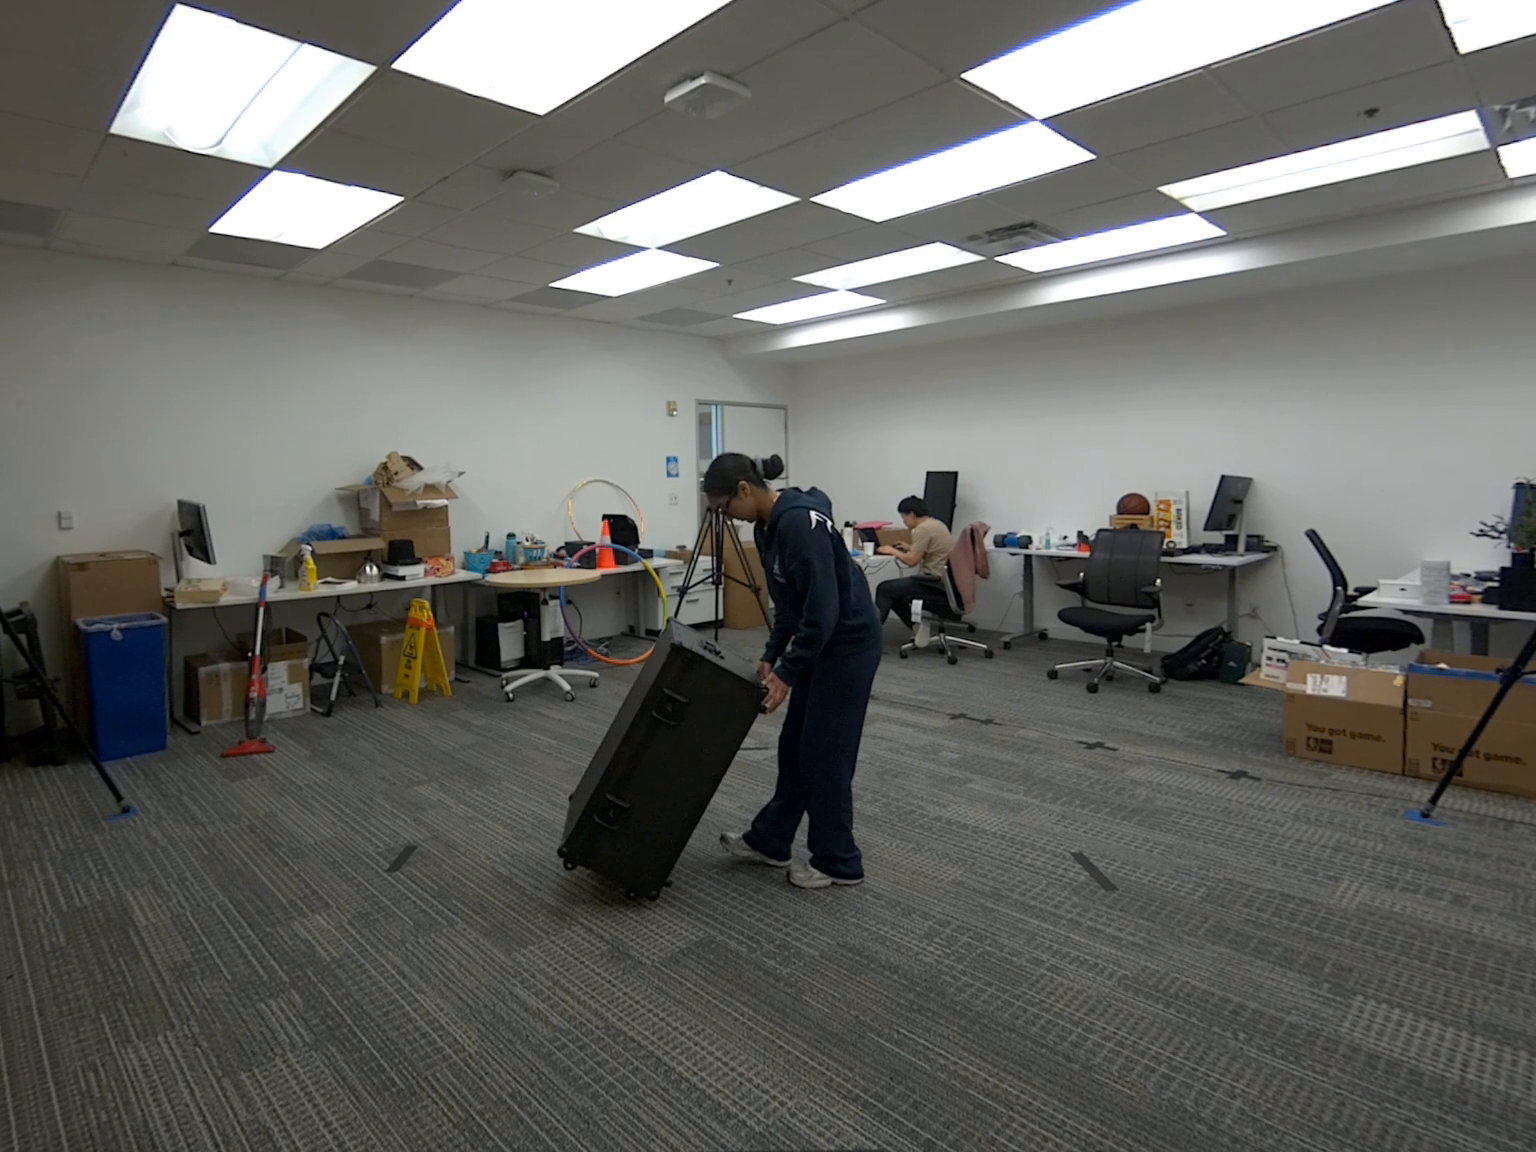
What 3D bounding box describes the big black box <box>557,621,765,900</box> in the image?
[{"bbox_3d":[-0.372,0.639,2.985,0.392,0.861,0.527,30,1,-9],"label":"big black box"}]
